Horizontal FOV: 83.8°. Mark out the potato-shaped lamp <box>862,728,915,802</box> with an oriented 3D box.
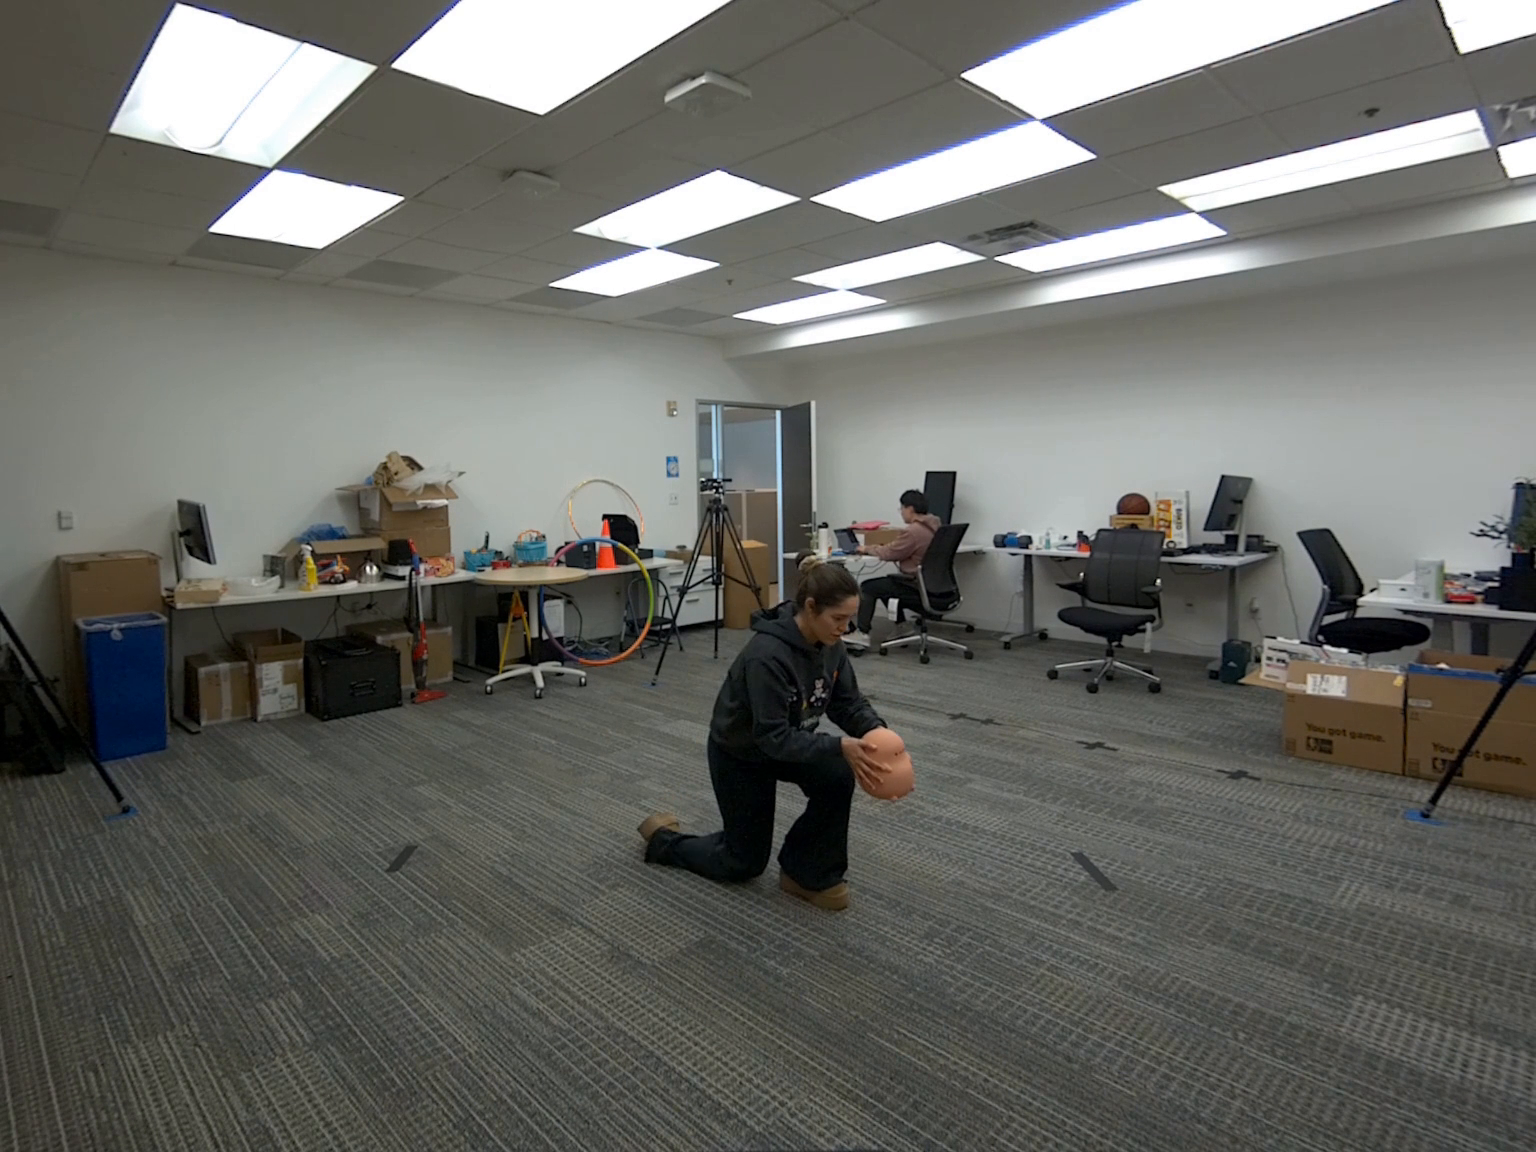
[{"bbox_3d":[0.342,0.555,2.574,0.177,0.197,0.160,4,8,44],"label":"potato-shaped lamp"}]
